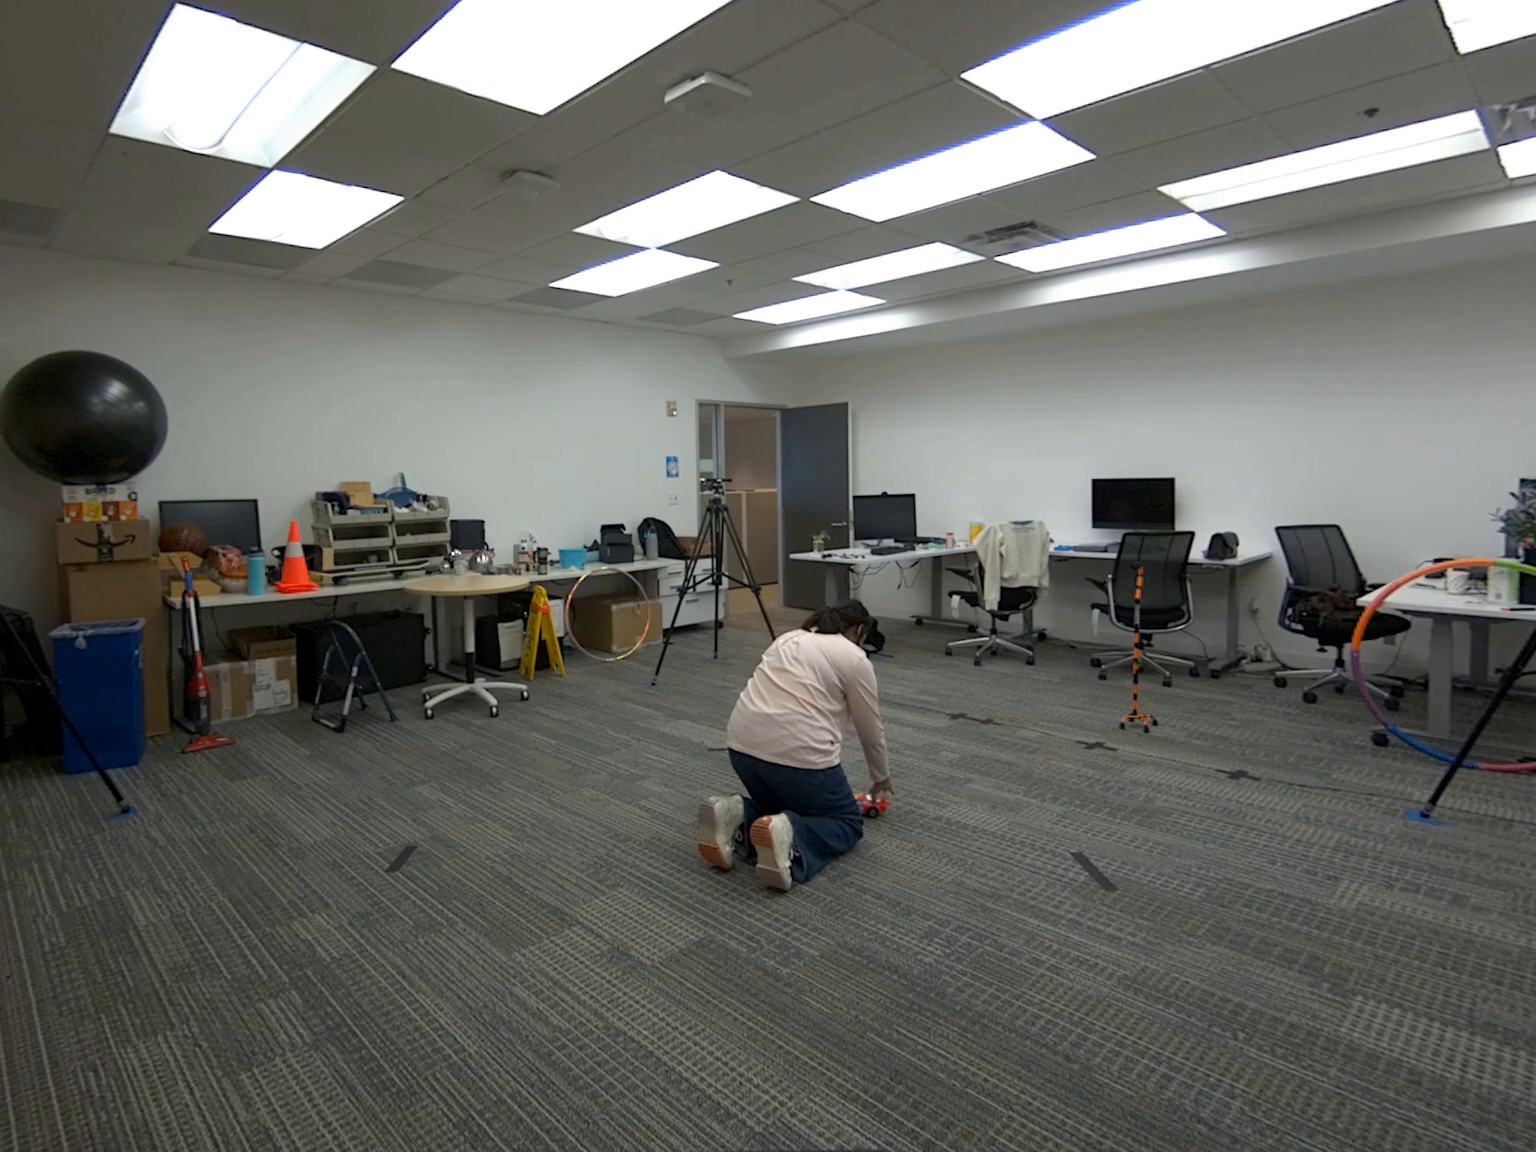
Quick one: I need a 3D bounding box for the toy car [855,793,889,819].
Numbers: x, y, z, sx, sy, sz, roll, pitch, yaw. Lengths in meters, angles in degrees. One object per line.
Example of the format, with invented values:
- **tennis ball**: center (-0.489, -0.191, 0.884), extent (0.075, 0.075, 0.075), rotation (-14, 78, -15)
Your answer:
- **toy car**: center (0.379, 0.954, 3.552), extent (0.255, 0.083, 0.130), rotation (-12, 3, 4)
